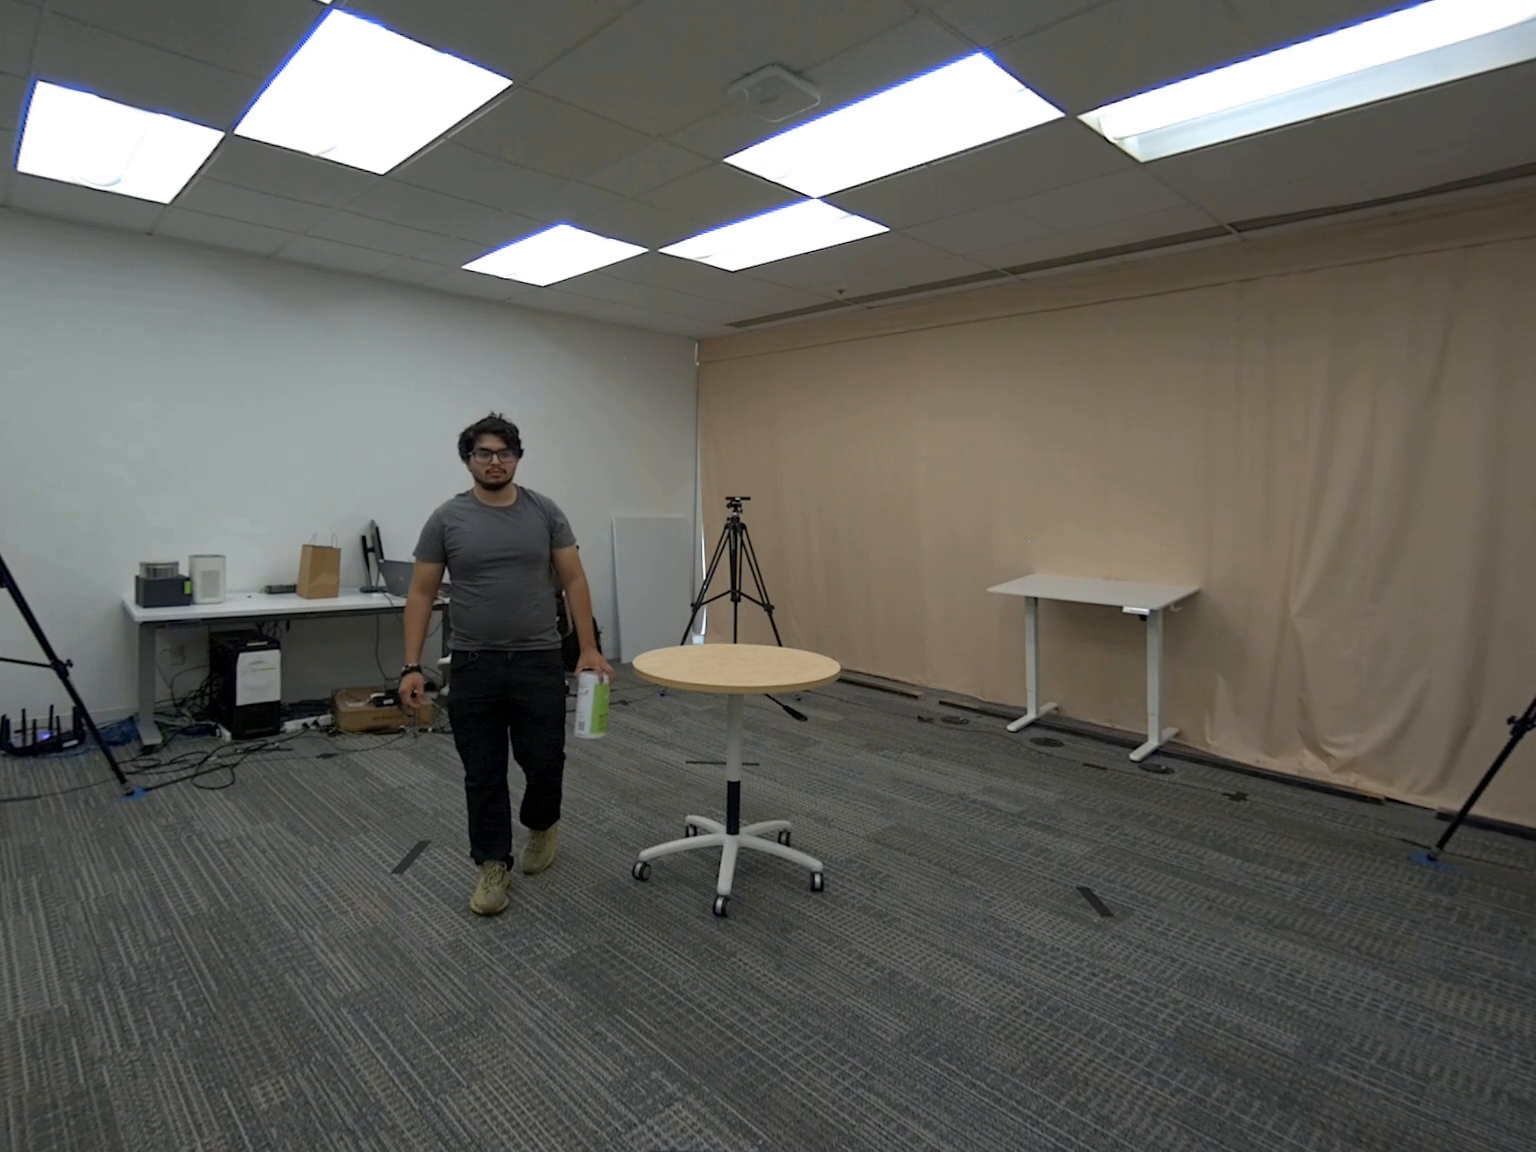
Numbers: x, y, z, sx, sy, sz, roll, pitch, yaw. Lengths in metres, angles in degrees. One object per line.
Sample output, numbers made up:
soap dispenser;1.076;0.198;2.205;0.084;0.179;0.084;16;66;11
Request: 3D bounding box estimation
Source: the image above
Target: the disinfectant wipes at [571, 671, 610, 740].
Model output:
disinfectant wipes;-0.598;0.436;2.859;0.118;0.218;0.117;6;-4;-1
